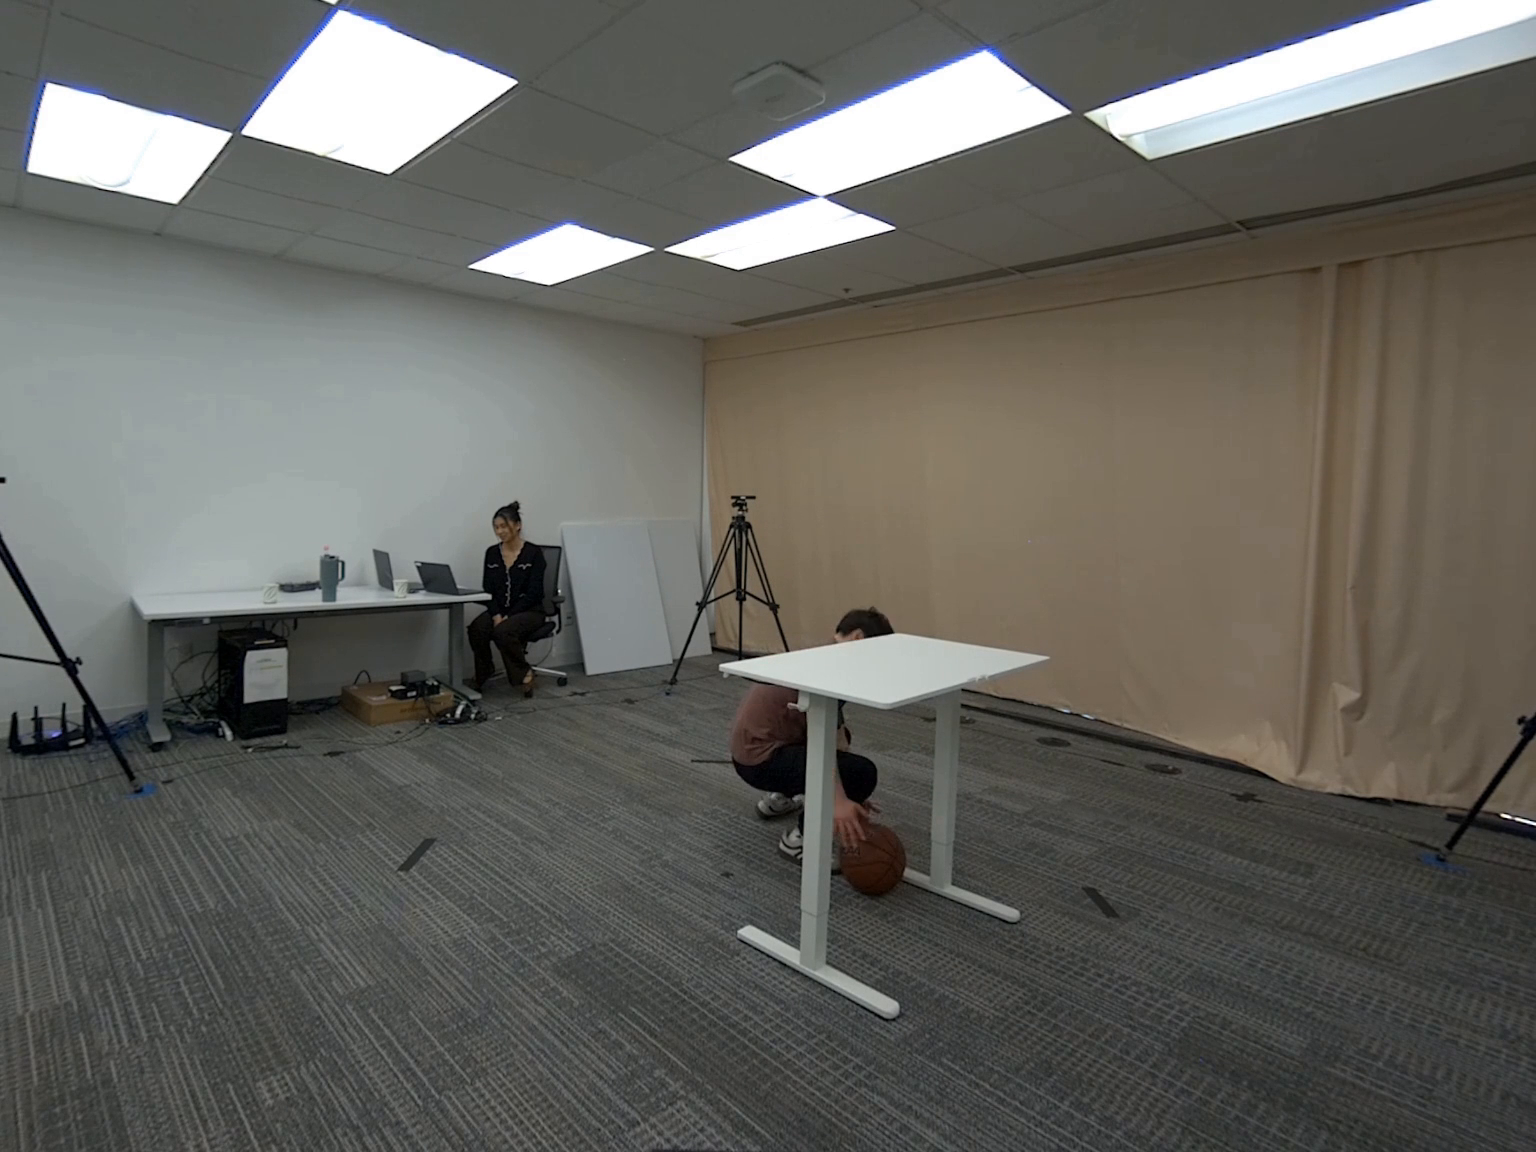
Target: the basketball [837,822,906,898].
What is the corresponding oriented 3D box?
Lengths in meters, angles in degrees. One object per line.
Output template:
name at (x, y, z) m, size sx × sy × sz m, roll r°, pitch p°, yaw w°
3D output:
basketball at (0.353, 1.007, 2.997) m, size 0.236 × 0.235 × 0.237 m, roll 1°, pitch 4°, yaw -1°
